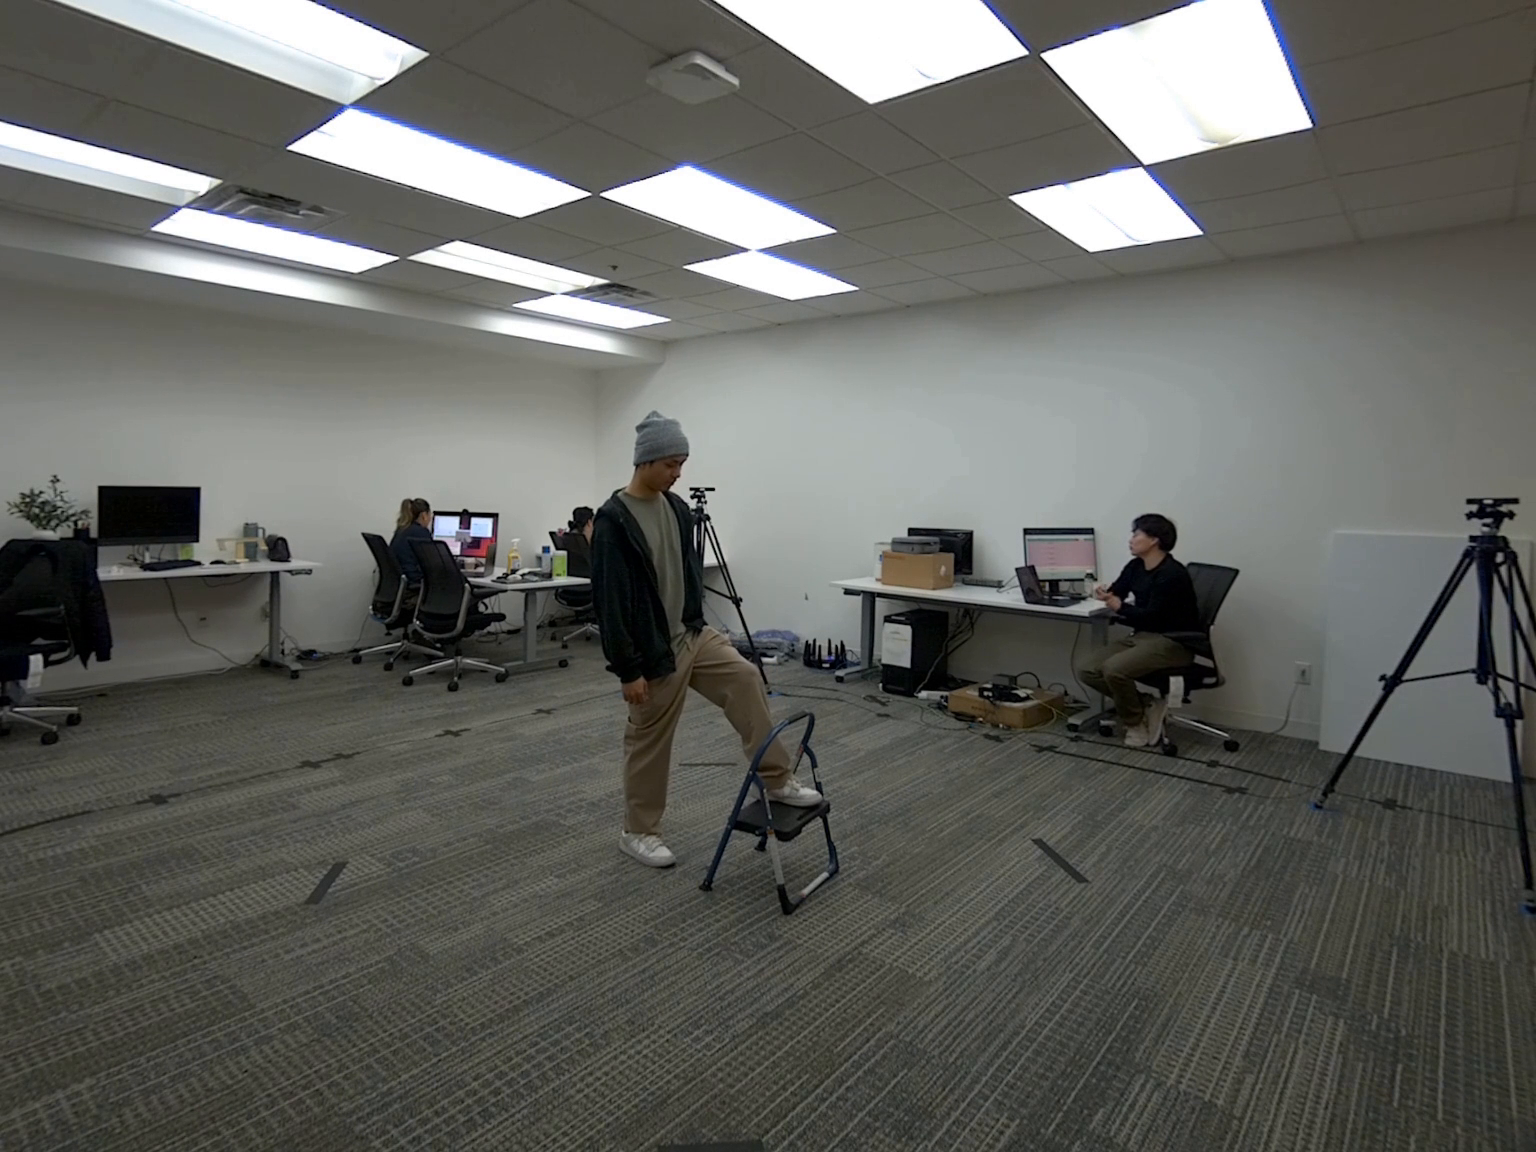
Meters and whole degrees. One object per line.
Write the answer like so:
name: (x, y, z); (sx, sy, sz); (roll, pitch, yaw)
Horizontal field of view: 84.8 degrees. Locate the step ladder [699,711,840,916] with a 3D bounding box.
step ladder: (0.015, 0.777, 3.016); (0.359, 0.604, 0.419); (4, 4, 29)
